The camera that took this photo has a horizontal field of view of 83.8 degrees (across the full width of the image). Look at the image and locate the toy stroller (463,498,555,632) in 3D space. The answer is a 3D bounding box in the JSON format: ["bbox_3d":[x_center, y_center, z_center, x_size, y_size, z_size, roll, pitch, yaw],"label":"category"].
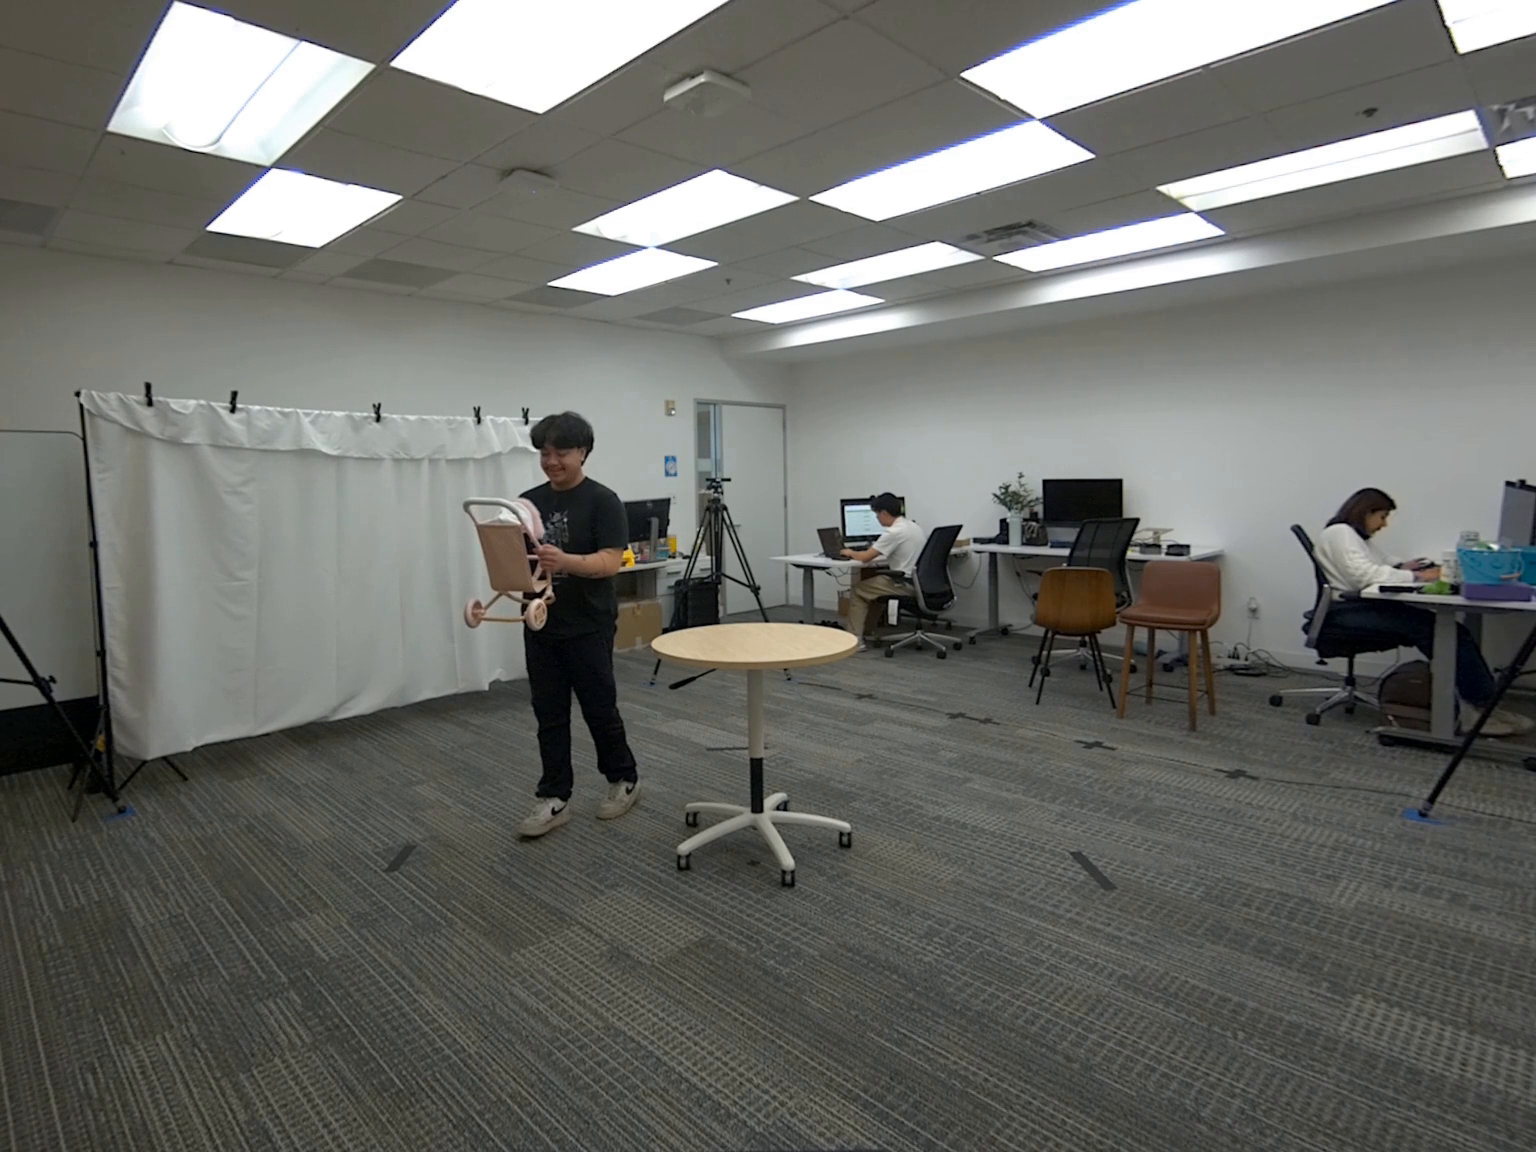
[{"bbox_3d":[-0.913,-0.040,3.099,0.286,0.529,0.339,2,12,18],"label":"toy stroller"}]
